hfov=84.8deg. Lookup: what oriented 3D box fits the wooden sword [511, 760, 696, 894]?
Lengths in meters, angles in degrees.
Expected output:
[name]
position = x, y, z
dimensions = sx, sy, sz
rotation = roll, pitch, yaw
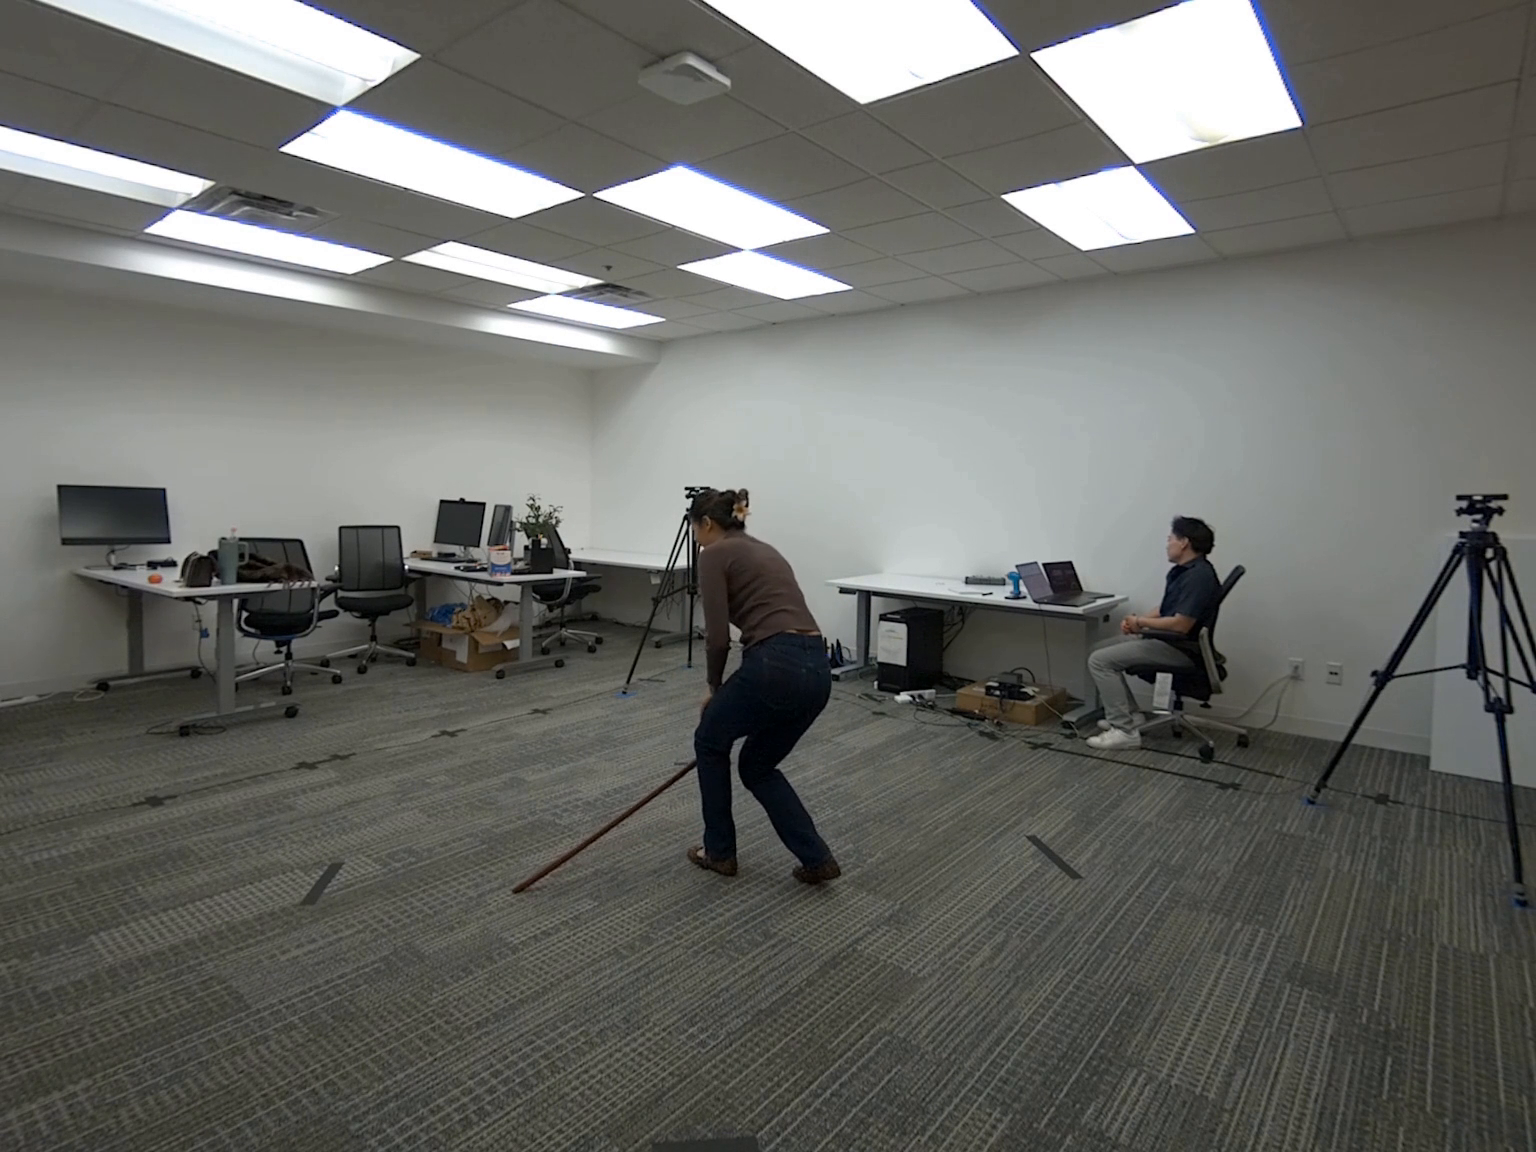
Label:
[wooden sword]
position = -0.511, 0.856, 3.129
dimensions = 1.013, 0.052, 0.024
rotation = -31, -11, -30
